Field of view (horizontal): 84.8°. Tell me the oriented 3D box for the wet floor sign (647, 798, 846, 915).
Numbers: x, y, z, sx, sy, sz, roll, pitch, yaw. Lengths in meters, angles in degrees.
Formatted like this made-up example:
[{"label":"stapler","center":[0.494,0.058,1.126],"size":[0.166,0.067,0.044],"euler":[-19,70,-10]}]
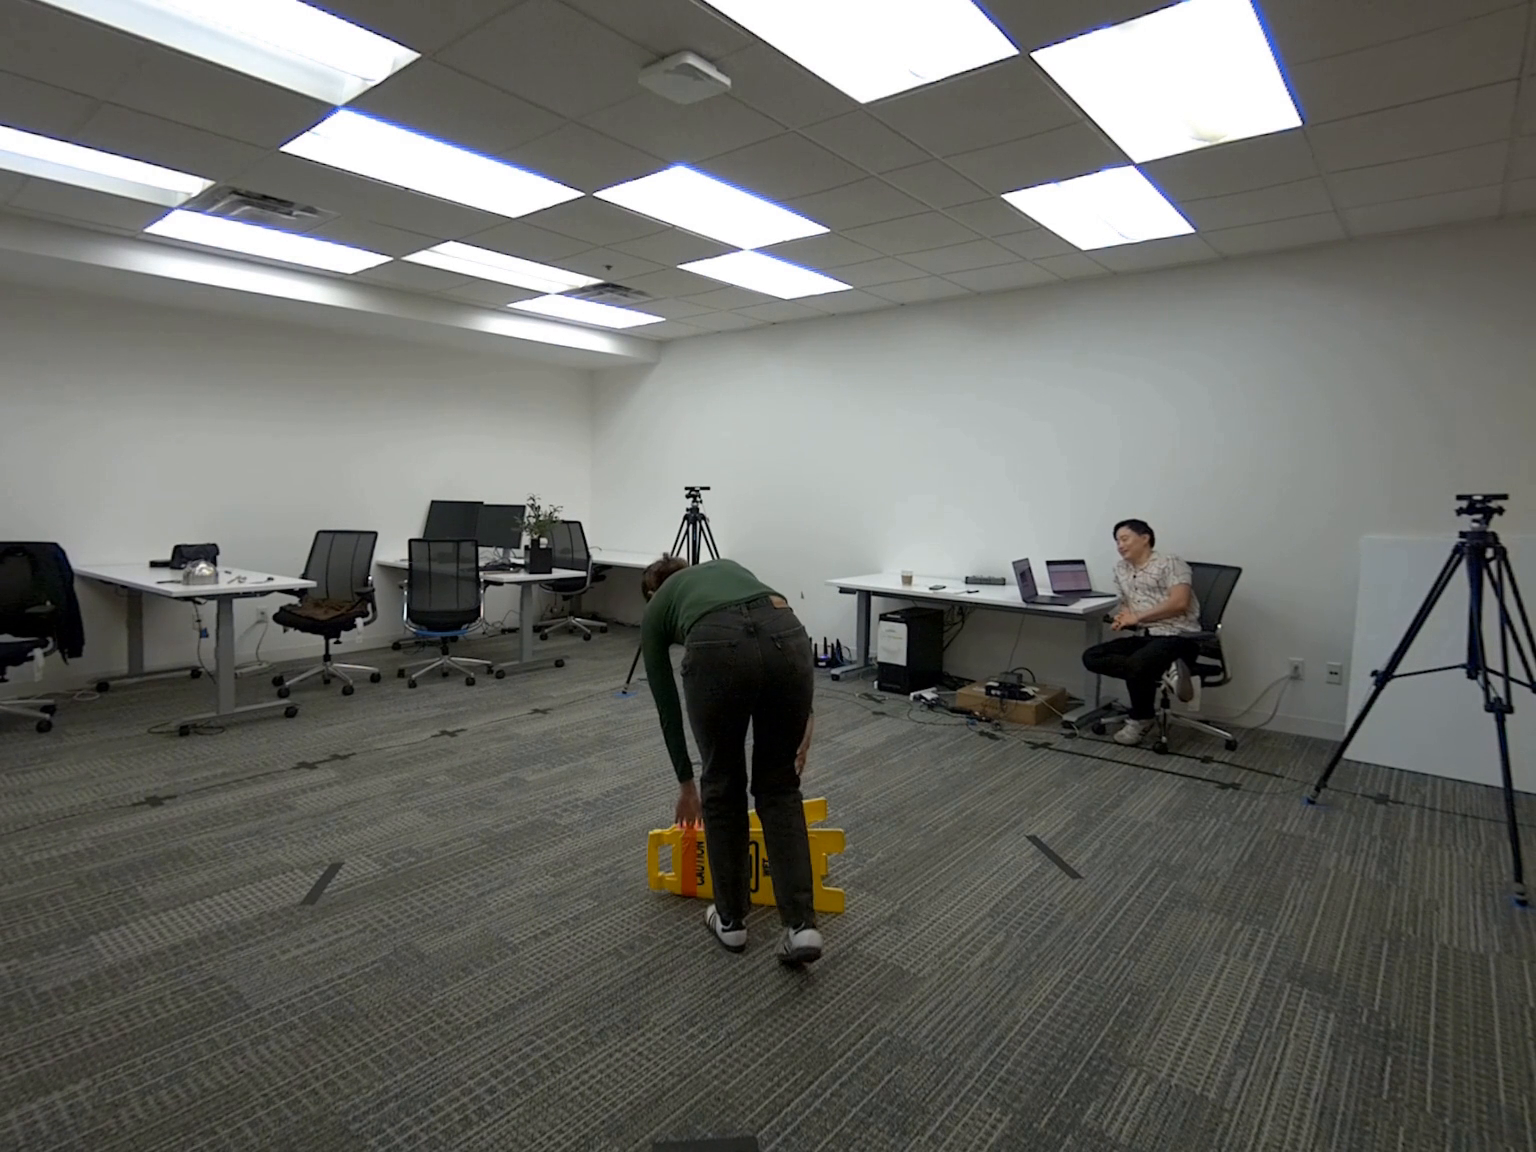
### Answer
[{"label":"wet floor sign","center":[-0.101,0.951,2.908],"size":[0.643,0.281,0.292],"euler":[-2,4,-5]}]
